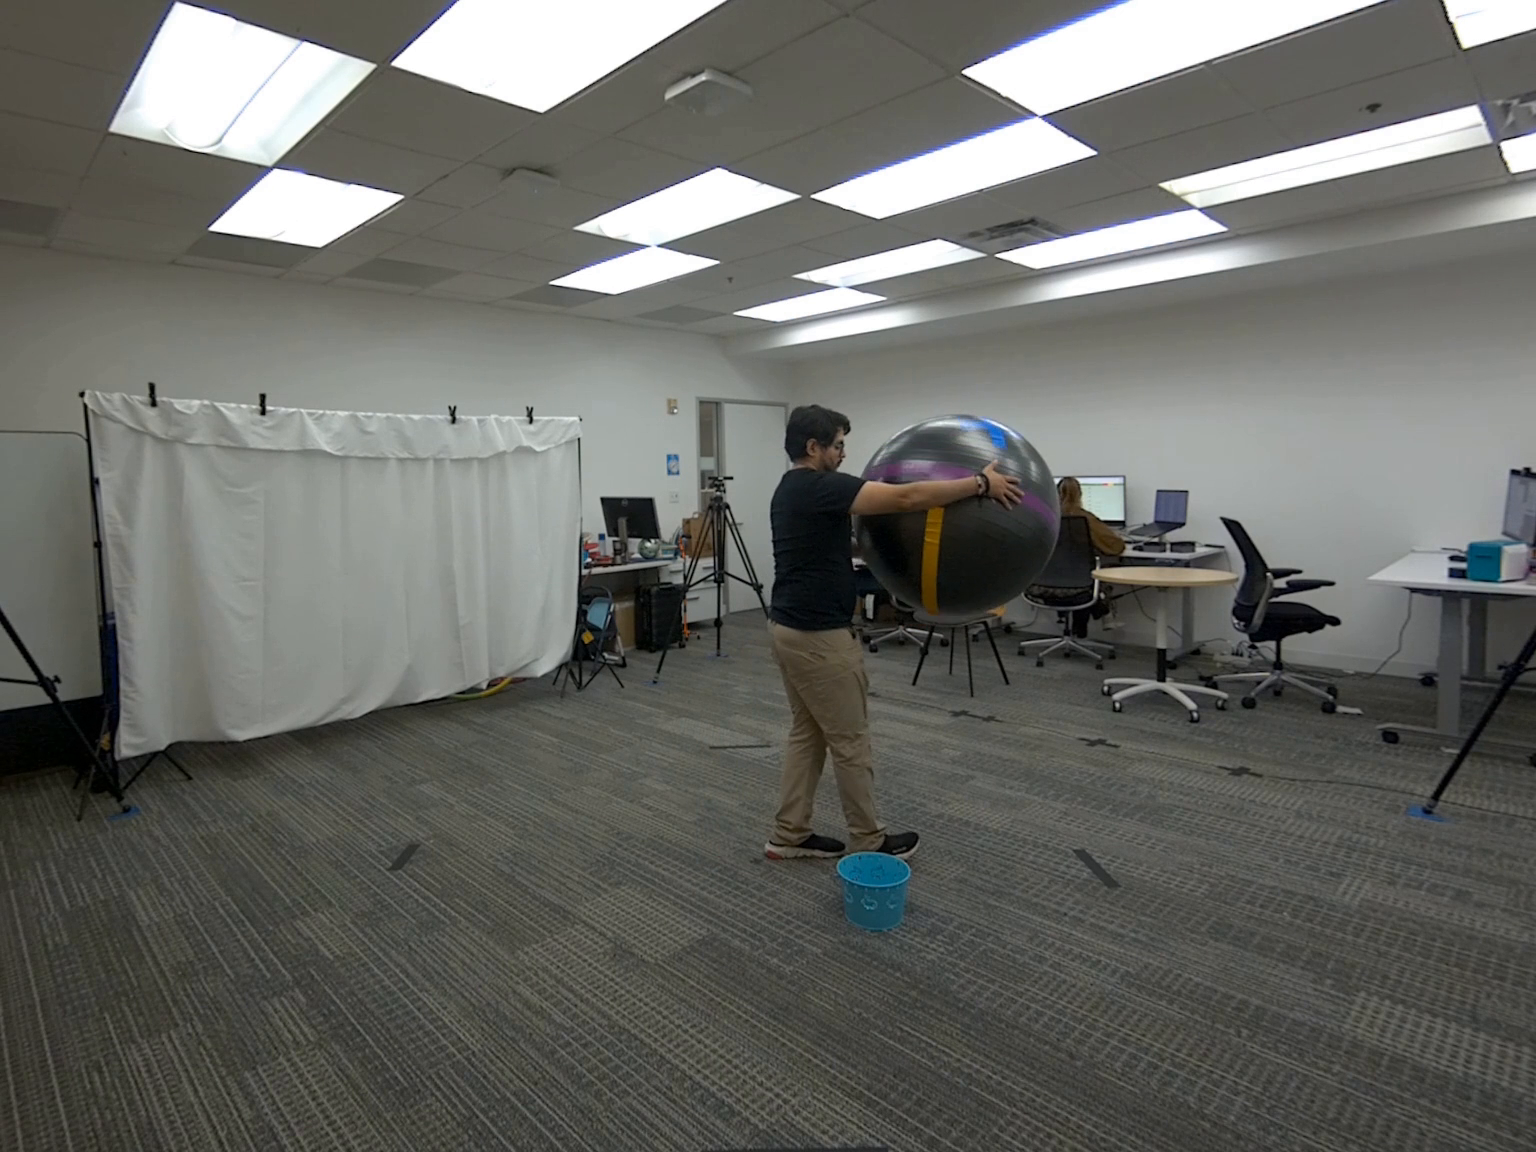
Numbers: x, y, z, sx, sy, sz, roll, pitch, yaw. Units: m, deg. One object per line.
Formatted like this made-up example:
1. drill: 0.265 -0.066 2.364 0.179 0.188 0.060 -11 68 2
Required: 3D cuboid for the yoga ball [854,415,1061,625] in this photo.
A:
1. yoga ball: 0.719 -0.228 3.252 0.757 0.755 0.762 -1 5 -2
